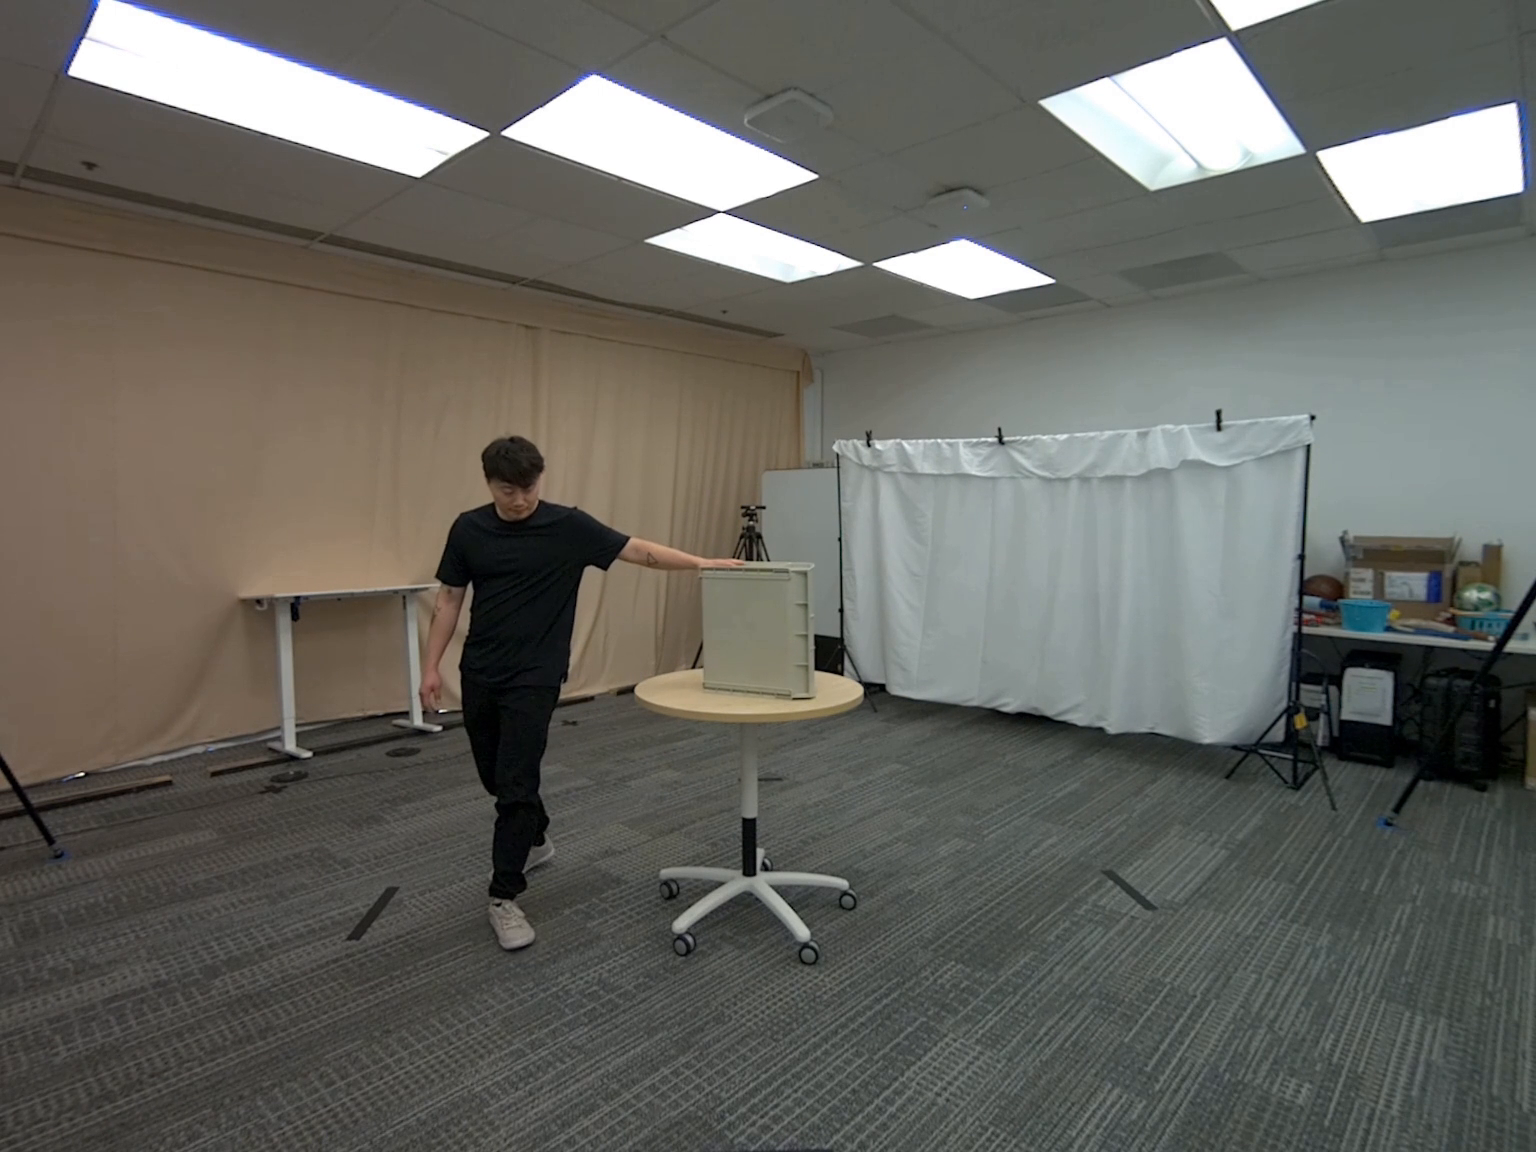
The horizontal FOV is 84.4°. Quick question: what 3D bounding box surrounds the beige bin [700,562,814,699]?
[{"bbox_3d":[-0.016,0.172,2.739,0.387,0.421,0.185,1,4,24],"label":"beige bin"}]
